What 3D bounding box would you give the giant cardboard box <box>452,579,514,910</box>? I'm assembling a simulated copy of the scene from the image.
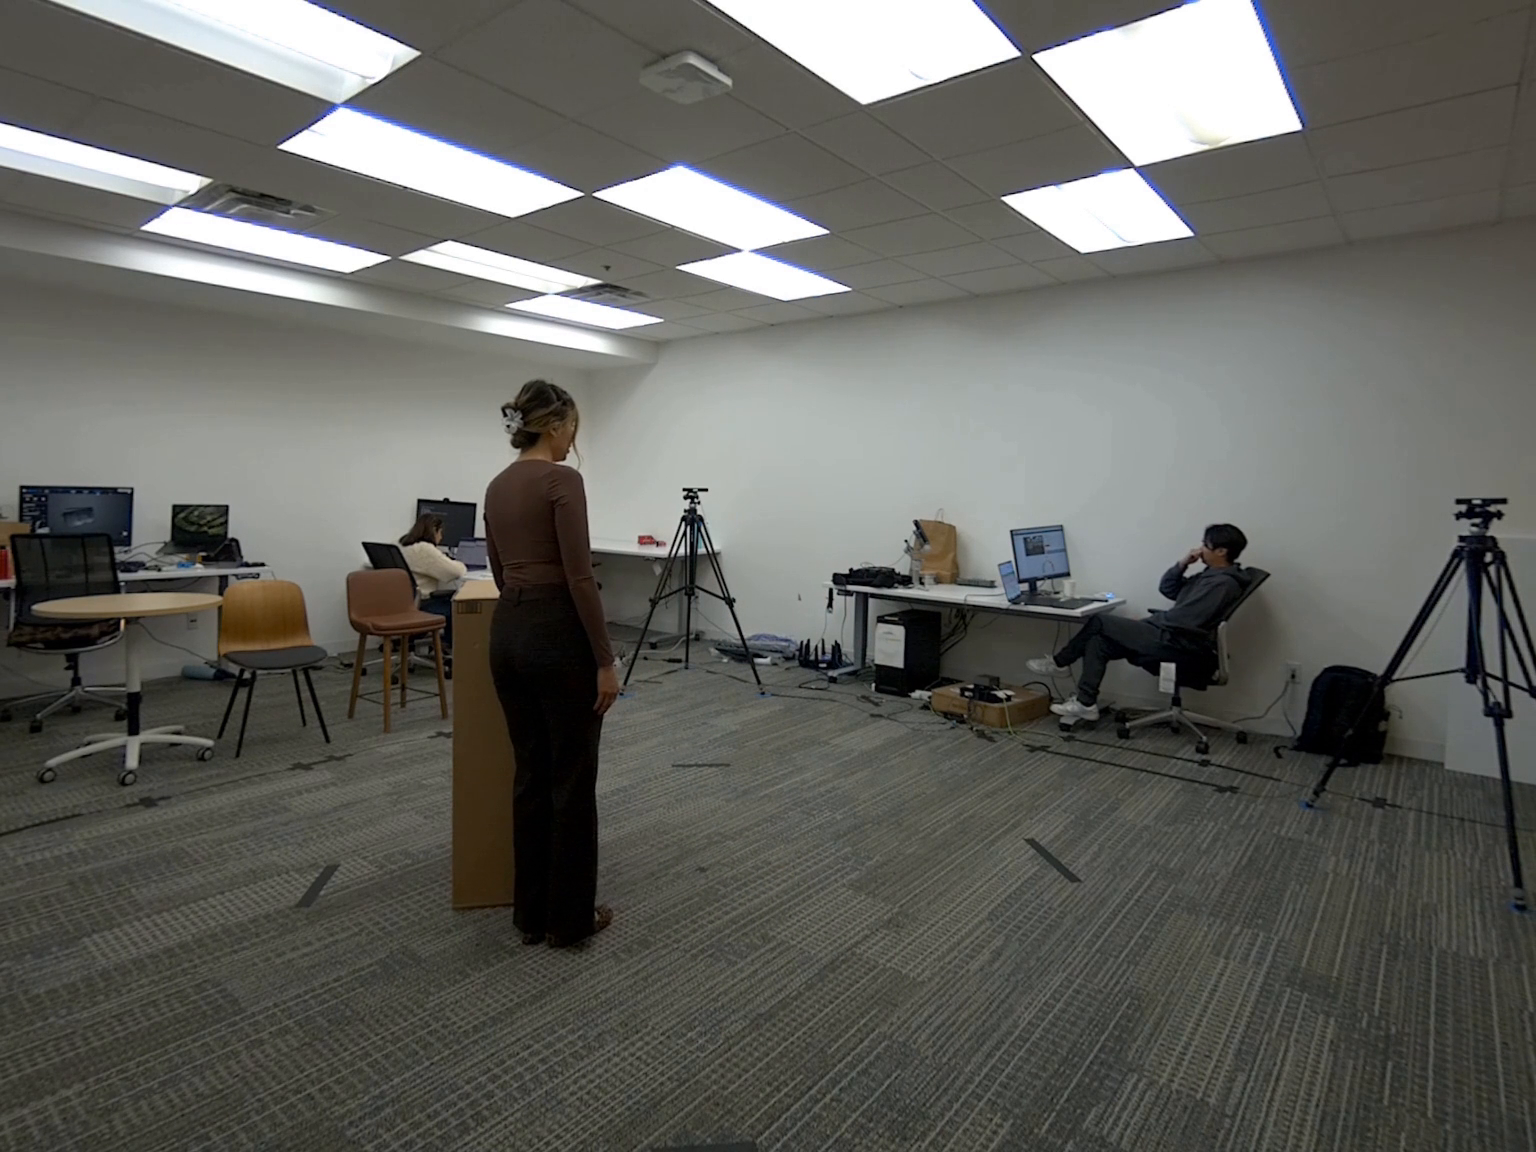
[{"bbox_3d":[-0.909,0.550,3.077,0.440,1.024,0.594,0,3,-15],"label":"giant cardboard box"}]
